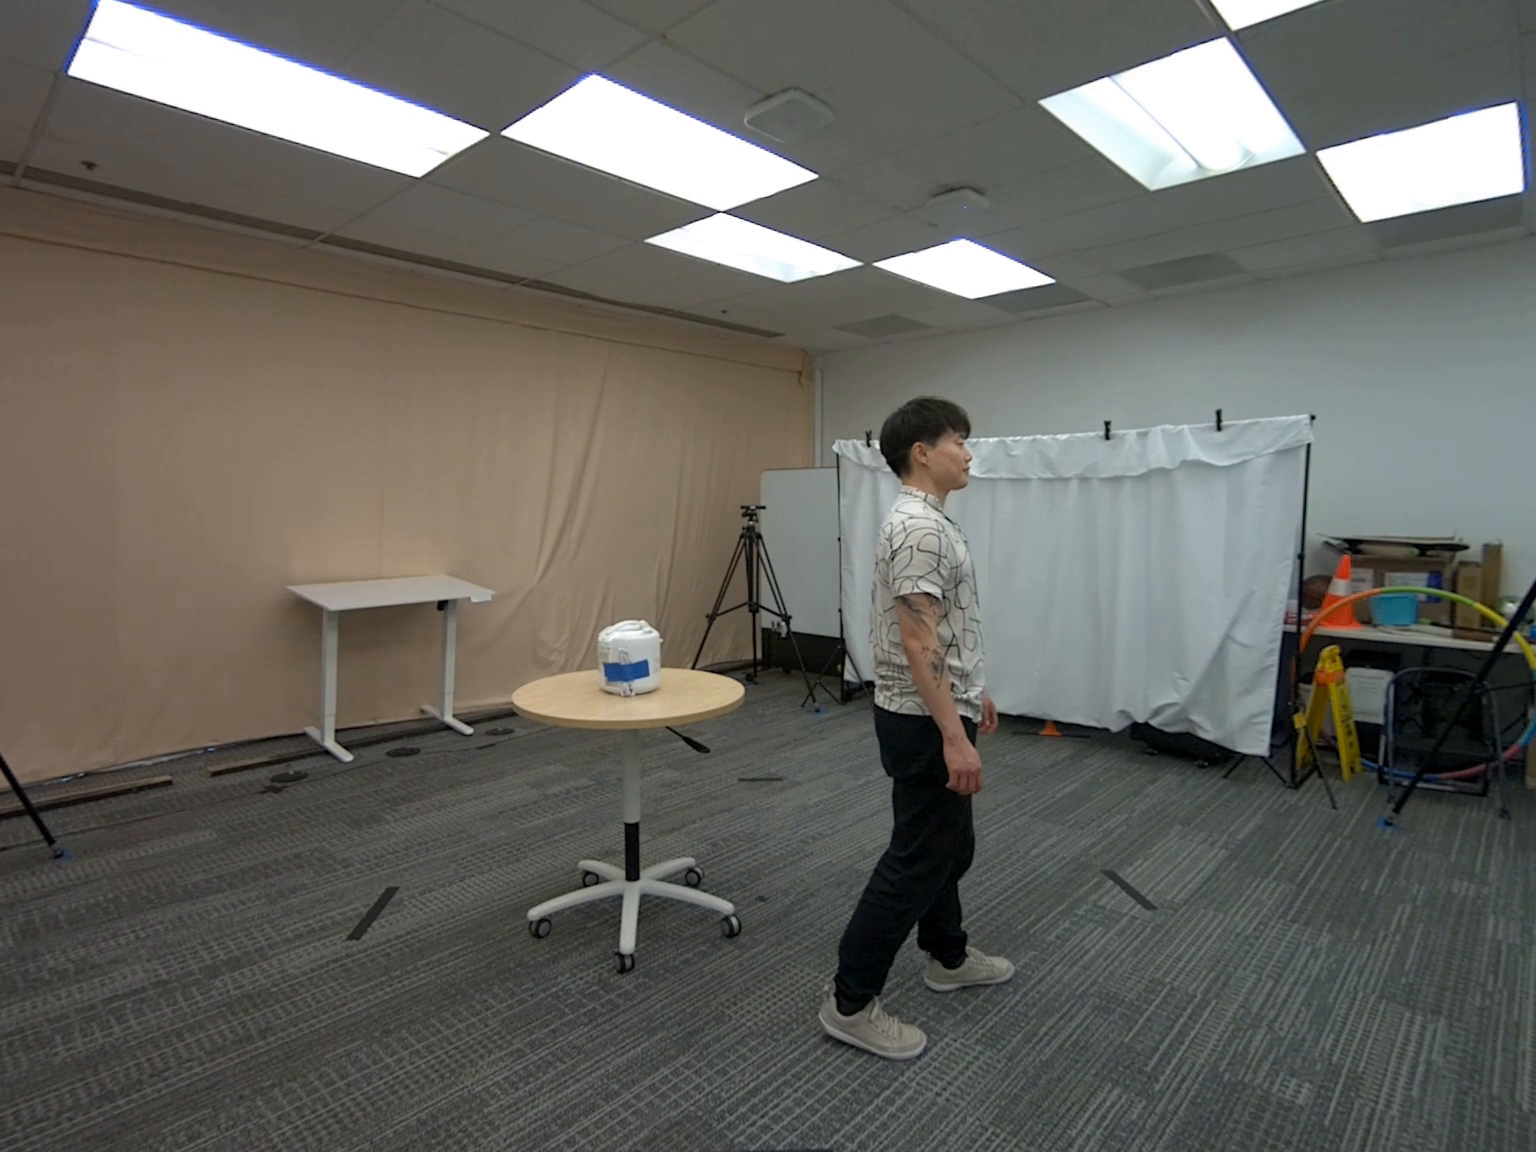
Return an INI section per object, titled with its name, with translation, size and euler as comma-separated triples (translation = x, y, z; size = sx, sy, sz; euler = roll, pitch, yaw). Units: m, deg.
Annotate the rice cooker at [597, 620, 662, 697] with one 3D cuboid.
[rice cooker]
translation = -0.463, 0.264, 2.805
size = 0.225, 0.232, 0.214
euler = 5, 6, 44
